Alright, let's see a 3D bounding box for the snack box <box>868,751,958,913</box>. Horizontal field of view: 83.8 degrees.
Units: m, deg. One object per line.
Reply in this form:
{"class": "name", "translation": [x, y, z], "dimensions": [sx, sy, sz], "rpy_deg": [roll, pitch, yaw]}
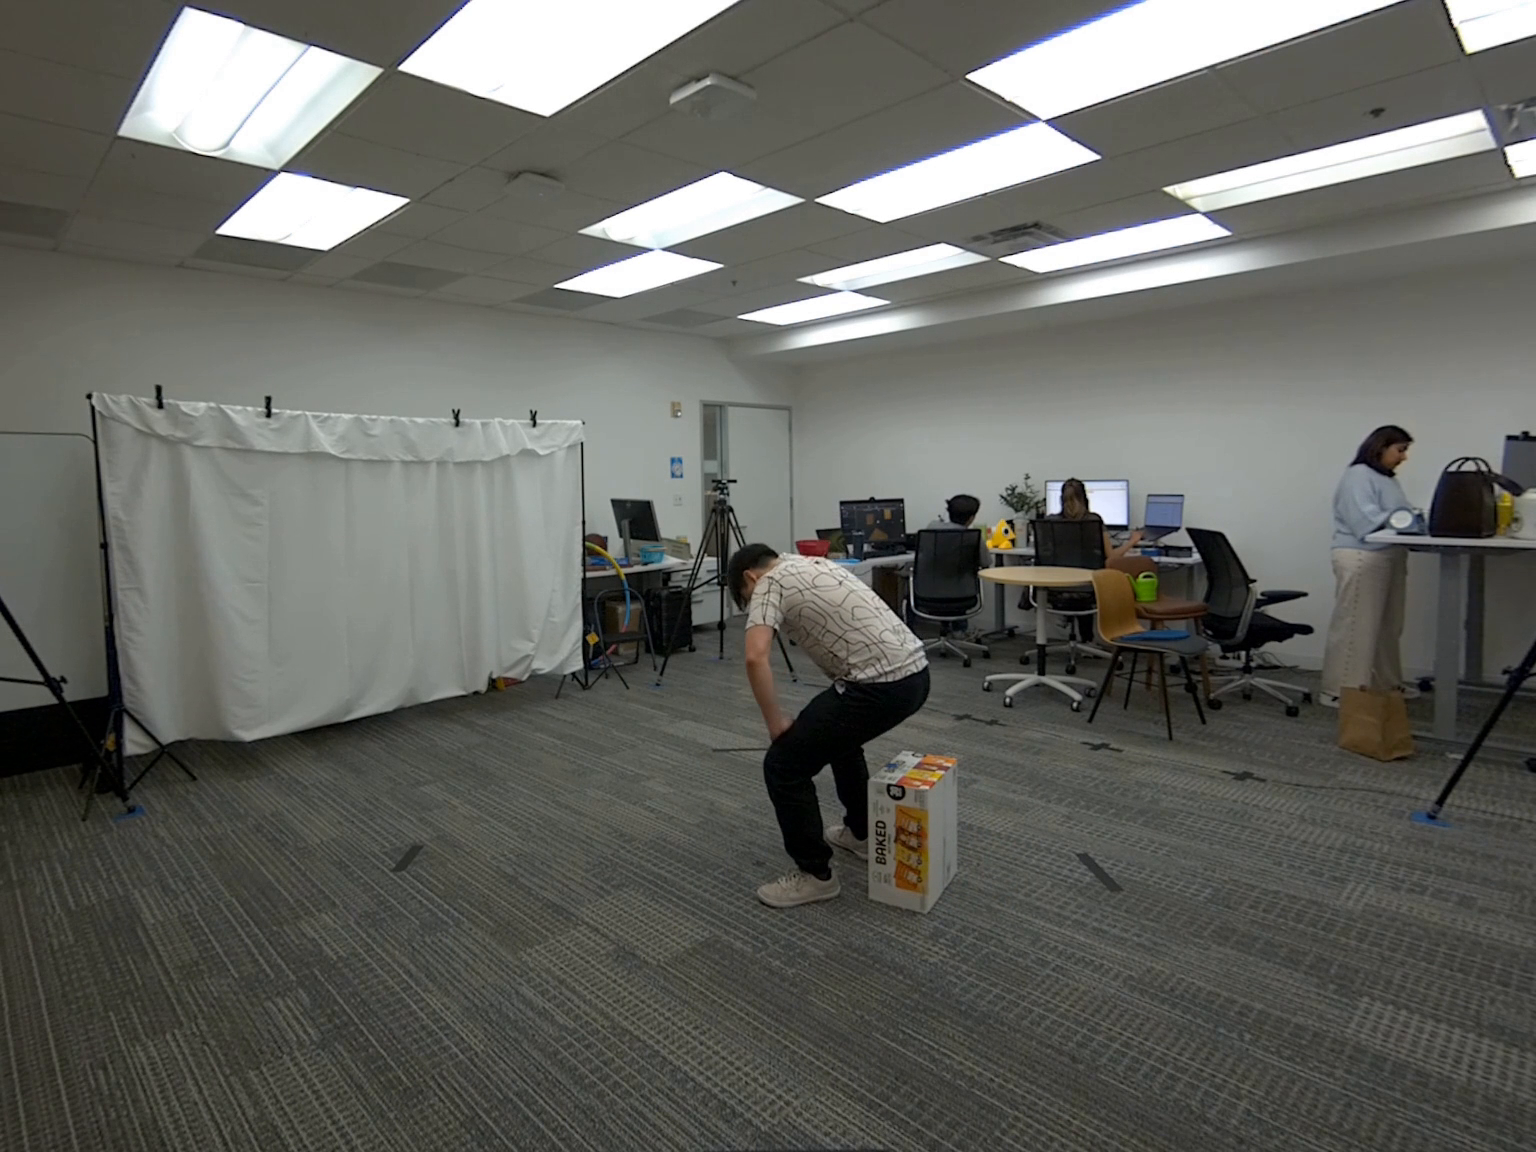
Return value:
{"class": "snack box", "translation": [0.501, 0.855, 2.910], "dimensions": [0.211, 0.404, 0.333], "rpy_deg": [1, 4, 29]}
